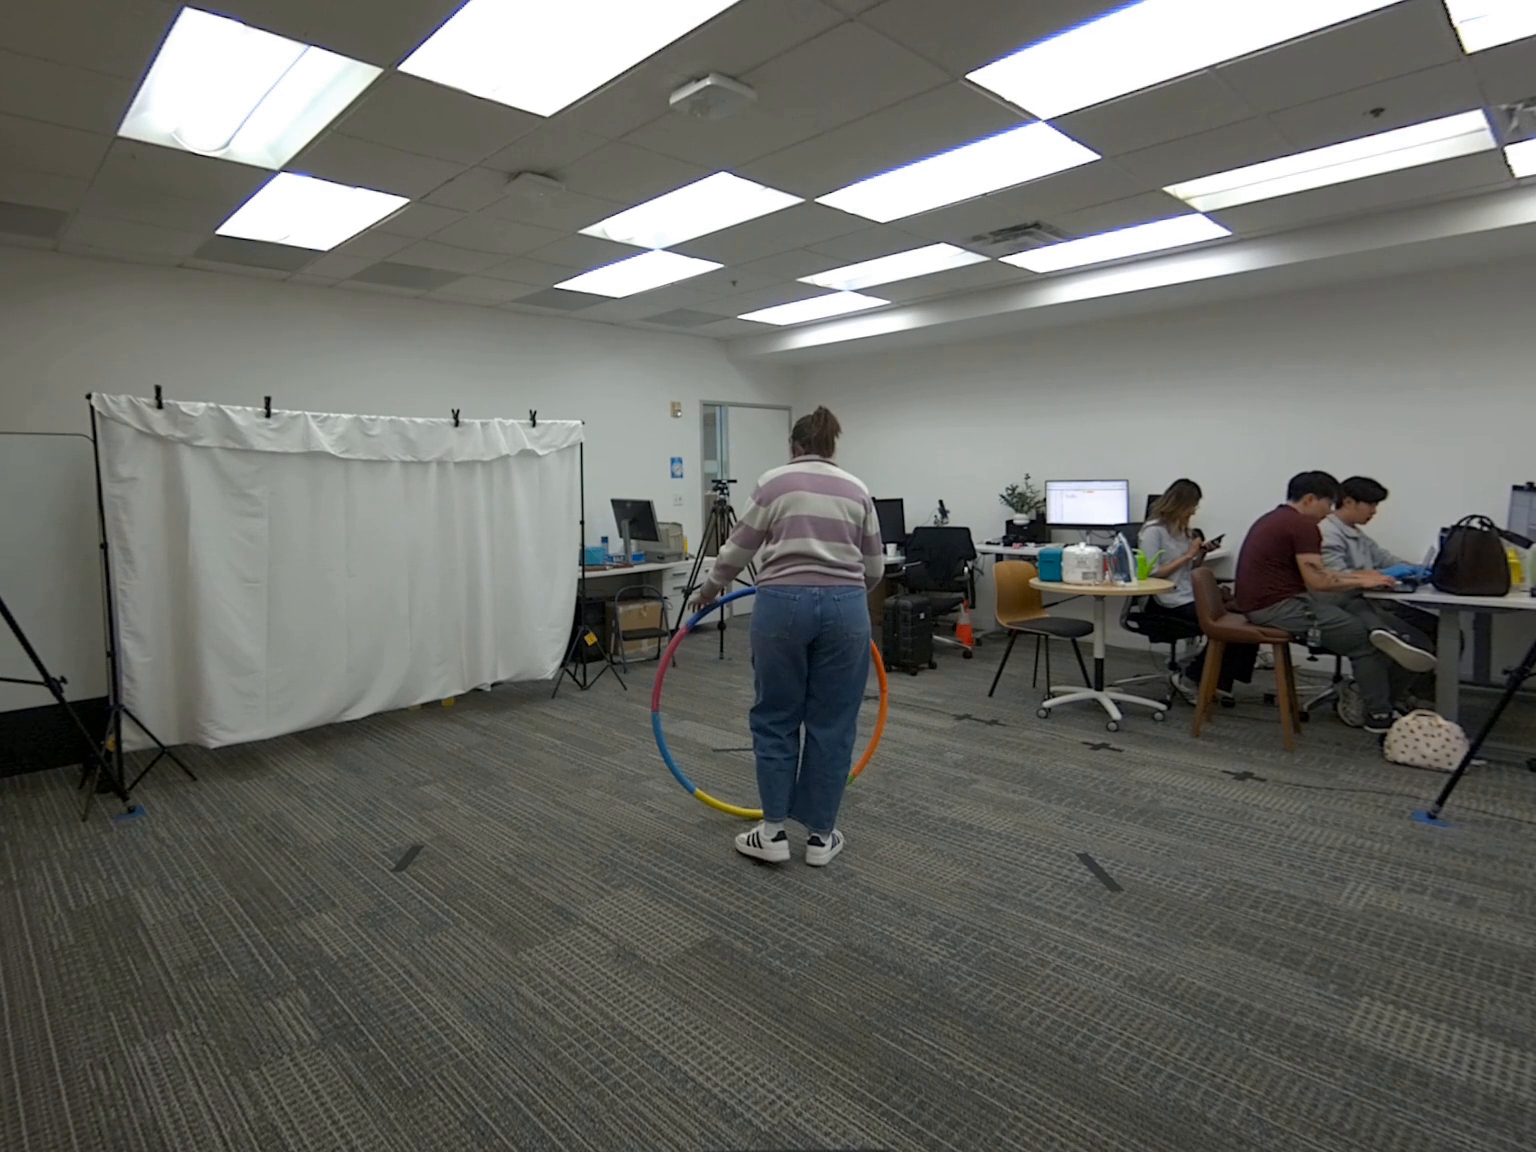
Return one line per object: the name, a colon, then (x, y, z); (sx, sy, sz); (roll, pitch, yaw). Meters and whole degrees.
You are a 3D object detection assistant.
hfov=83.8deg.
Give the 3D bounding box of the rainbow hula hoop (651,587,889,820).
rainbow hula hoop: (0.015, 0.520, 3.516); (0.975, 0.984, 0.052); (-2, 1, -10)
